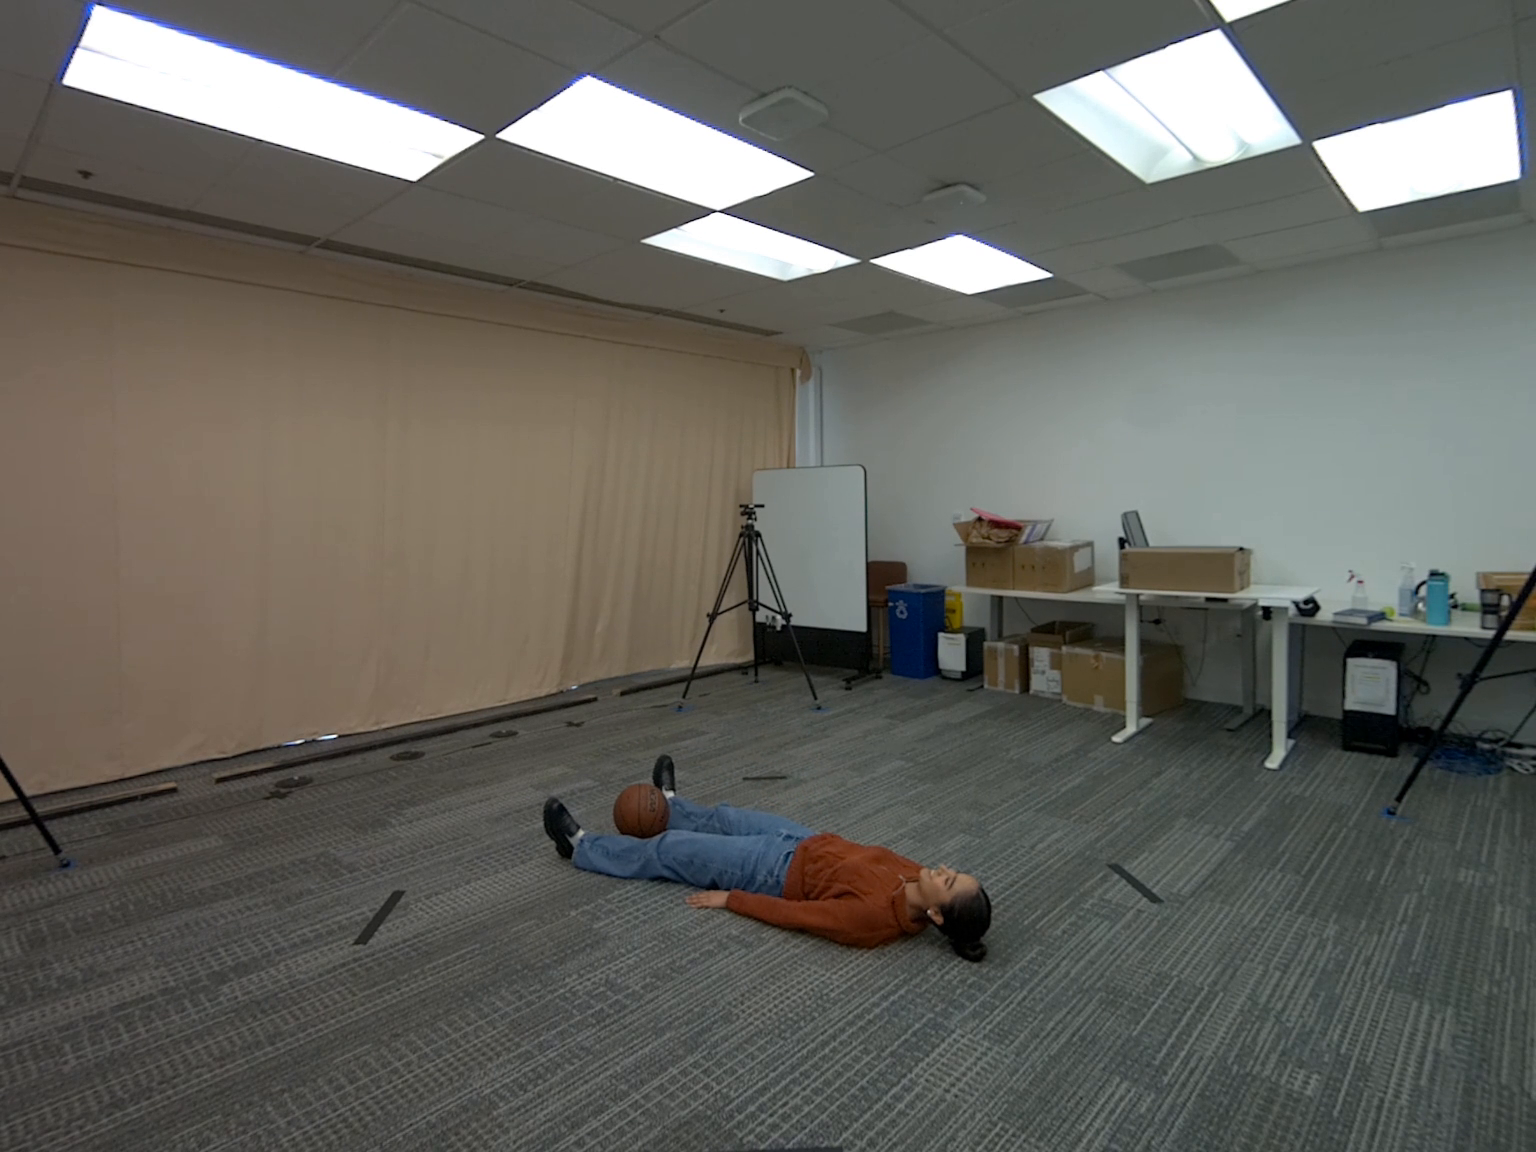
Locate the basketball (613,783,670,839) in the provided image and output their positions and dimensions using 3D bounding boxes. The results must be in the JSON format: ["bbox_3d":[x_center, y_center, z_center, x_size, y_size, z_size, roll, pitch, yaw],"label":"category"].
[{"bbox_3d":[-0.528,0.988,3.525,0.236,0.235,0.237,-1,4,-2],"label":"basketball"}]
